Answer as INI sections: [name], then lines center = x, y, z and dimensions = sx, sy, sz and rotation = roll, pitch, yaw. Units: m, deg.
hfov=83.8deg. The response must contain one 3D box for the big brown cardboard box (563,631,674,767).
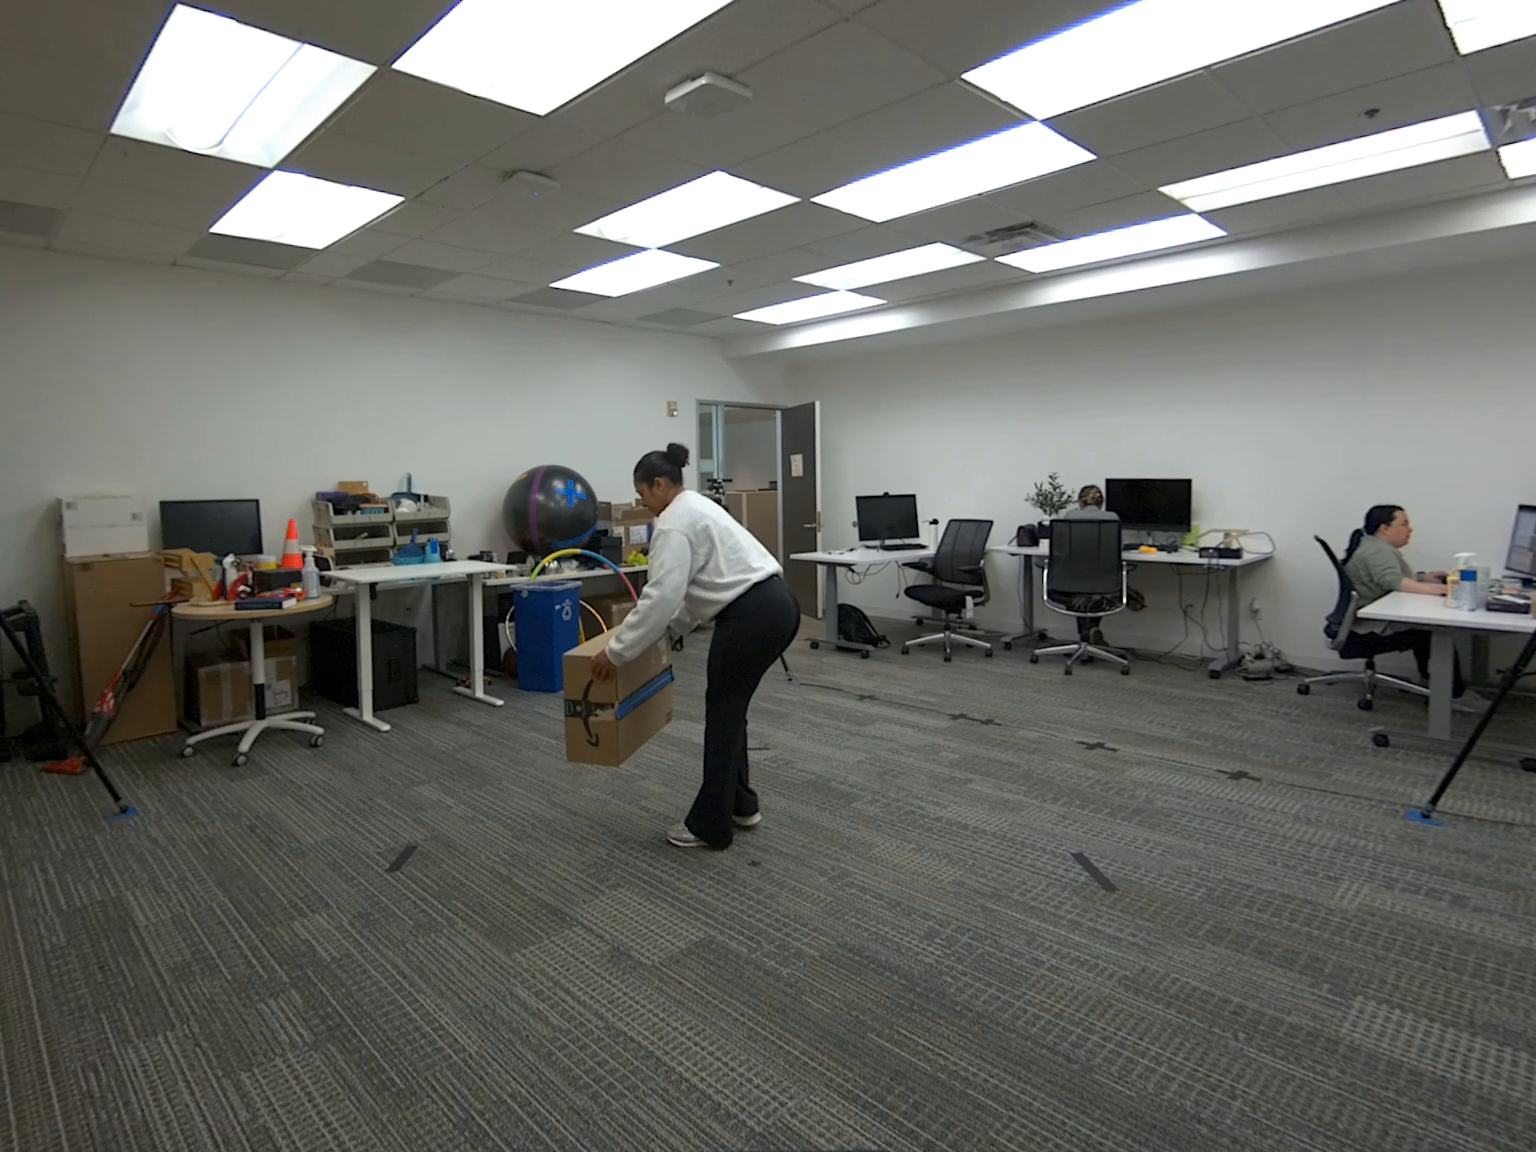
[big brown cardboard box]
center = -0.580, 0.451, 3.431
dimensions = 0.237, 0.415, 0.583
rotation = 1, 8, 16
